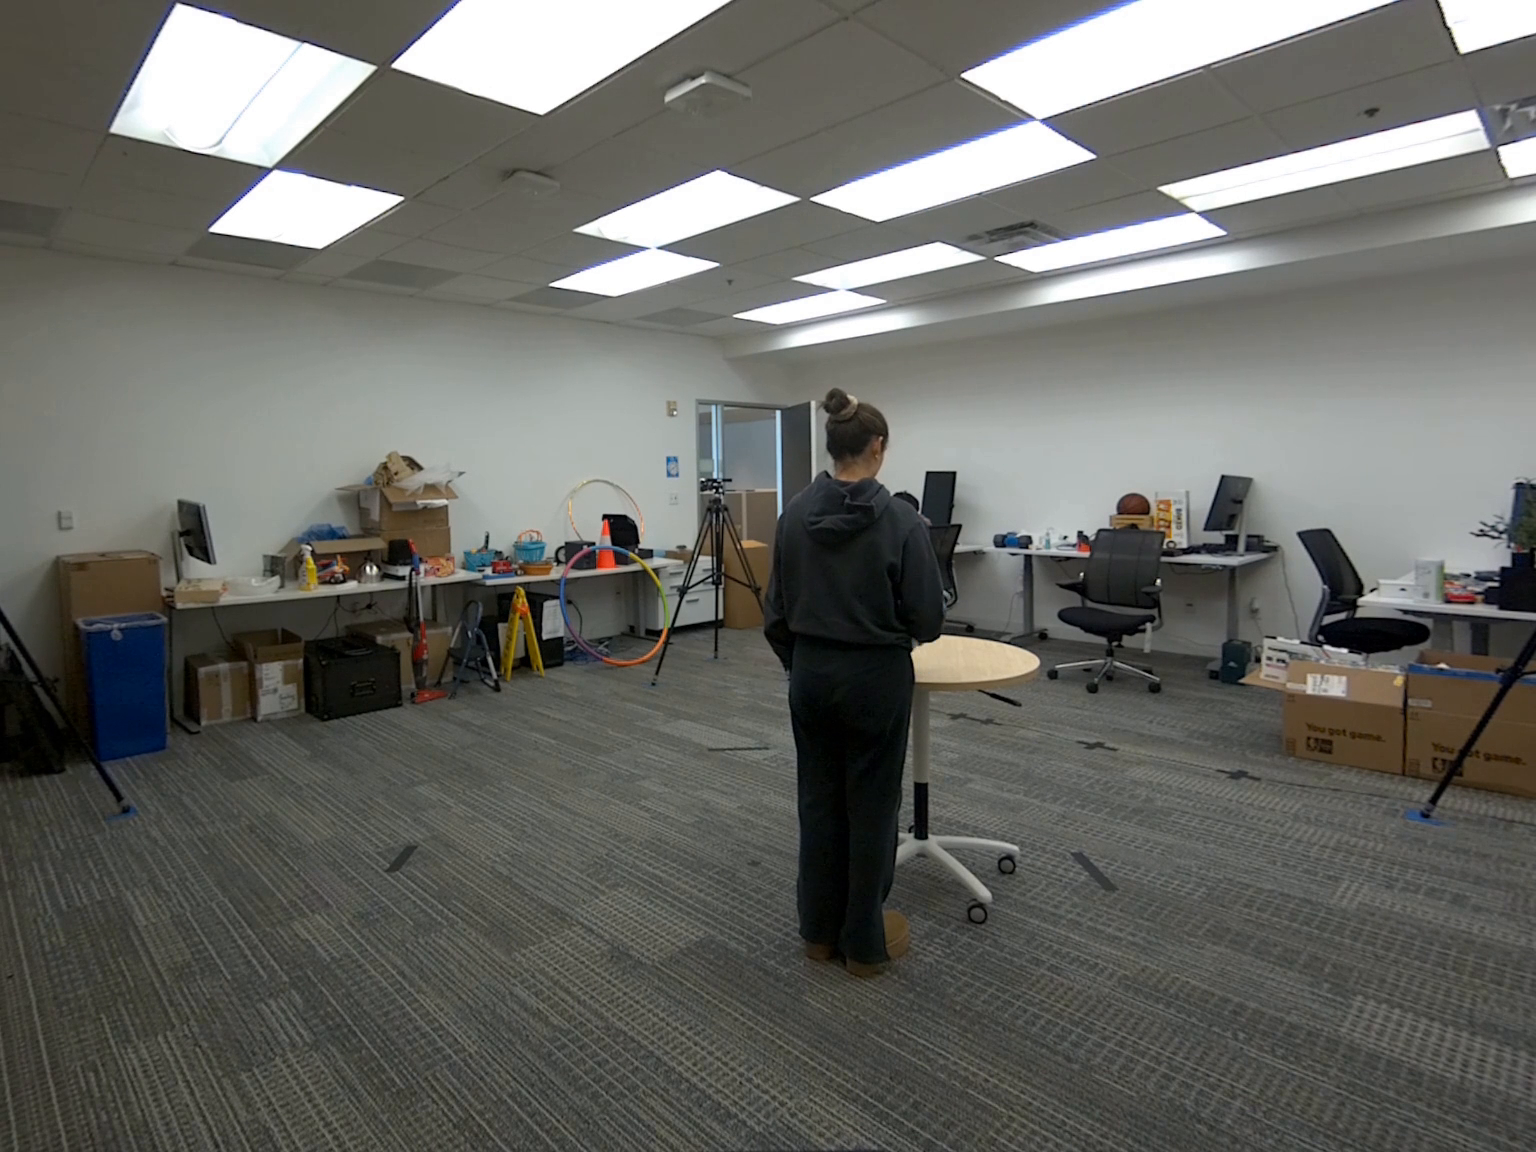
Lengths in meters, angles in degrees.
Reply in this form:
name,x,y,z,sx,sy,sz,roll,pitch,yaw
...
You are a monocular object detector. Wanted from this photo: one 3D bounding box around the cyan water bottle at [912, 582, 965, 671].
name,x,y,z,sx,sy,sz,roll,pitch,yaw
cyan water bottle,0.477,0.153,2.672,0.283,0.090,0.095,-49,24,-19
